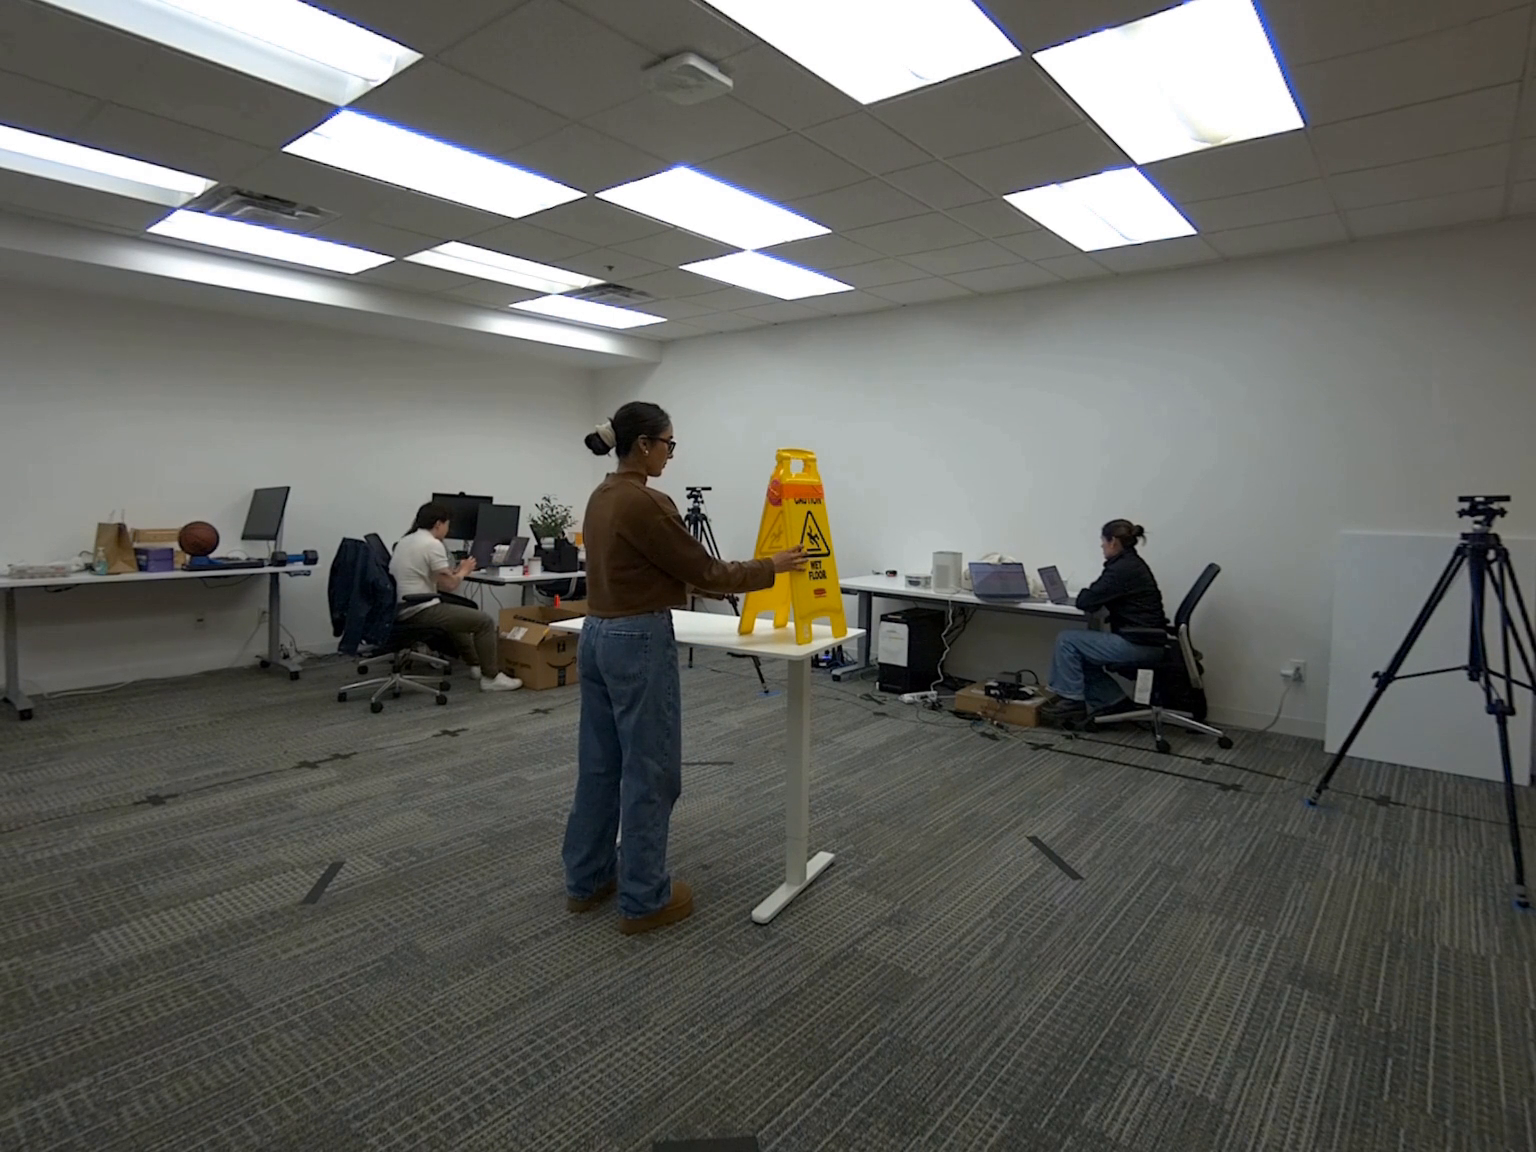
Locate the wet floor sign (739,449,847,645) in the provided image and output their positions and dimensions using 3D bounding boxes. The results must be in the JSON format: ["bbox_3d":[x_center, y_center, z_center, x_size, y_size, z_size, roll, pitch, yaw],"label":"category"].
[{"bbox_3d":[0.081,-0.117,2.953,0.299,0.644,0.274,3,4,40],"label":"wet floor sign"}]
